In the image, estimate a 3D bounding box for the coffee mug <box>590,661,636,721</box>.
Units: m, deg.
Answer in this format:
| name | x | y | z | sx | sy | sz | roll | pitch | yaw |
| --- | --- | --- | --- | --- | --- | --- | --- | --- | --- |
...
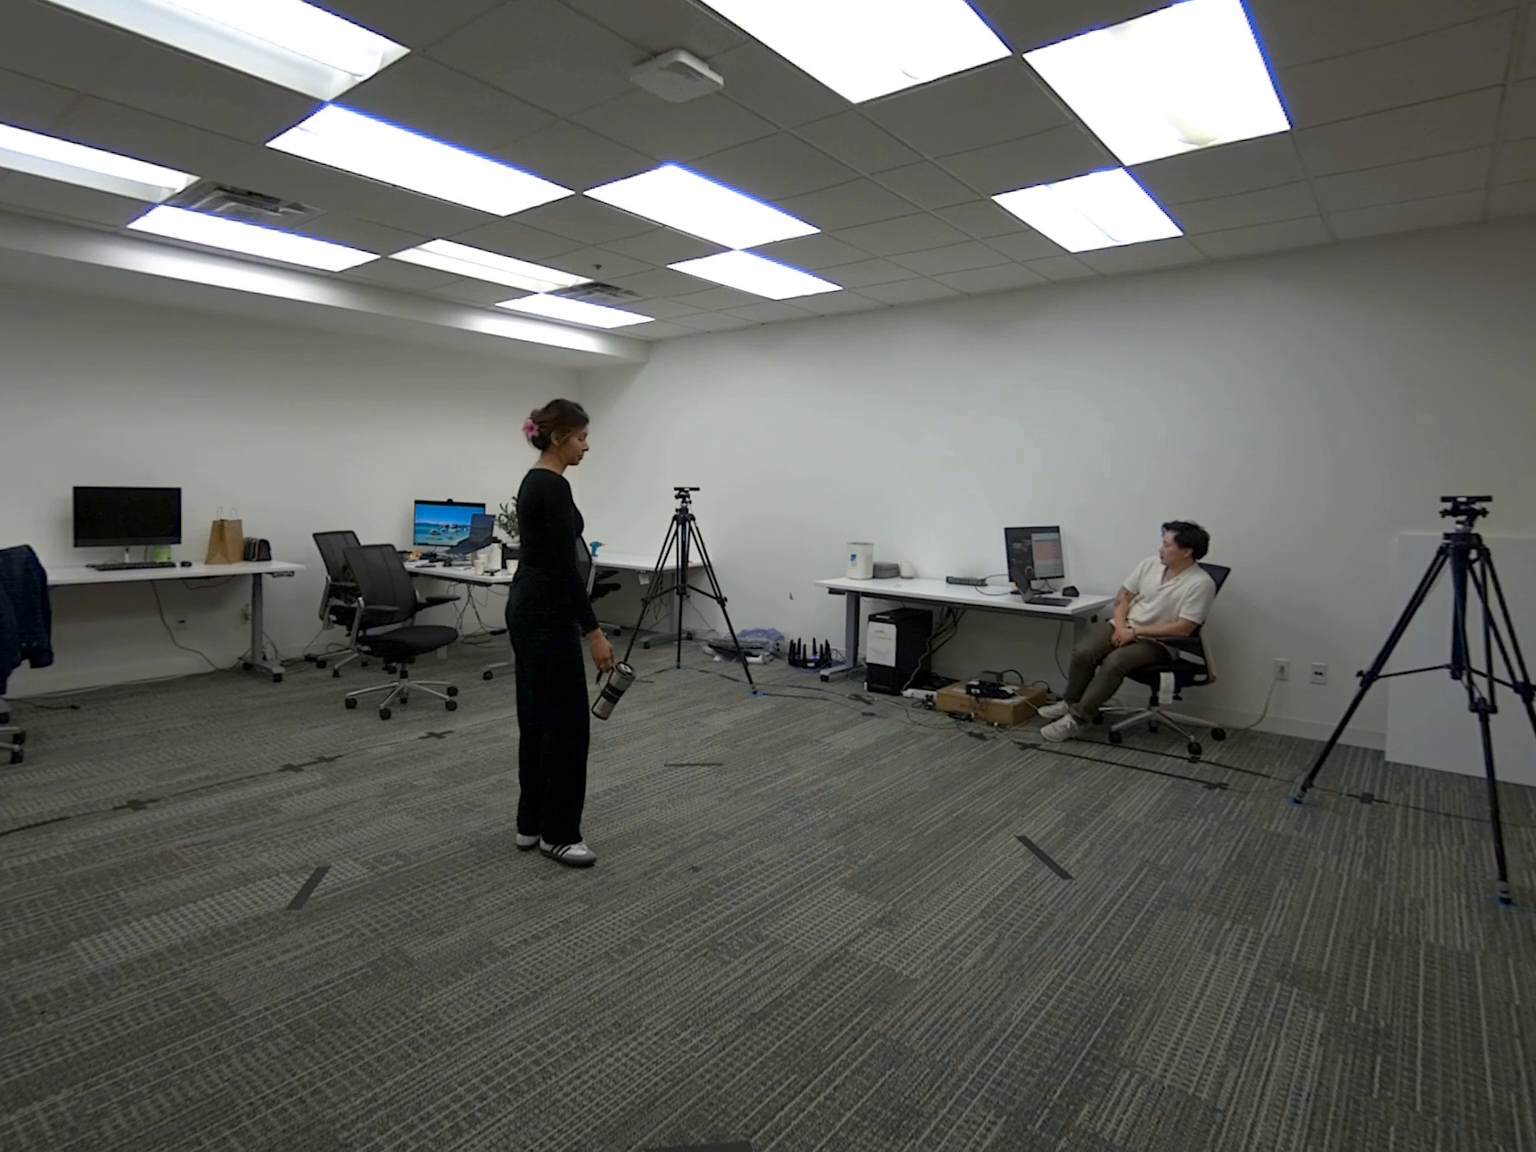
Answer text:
| name | x | y | z | sx | sy | sz | roll | pitch | yaw |
| --- | --- | --- | --- | --- | --- | --- | --- | --- | --- |
| coffee mug | -0.593 | 0.413 | 3.083 | 0.127 | 0.202 | 0.084 | 41 | 16 | 35 |
